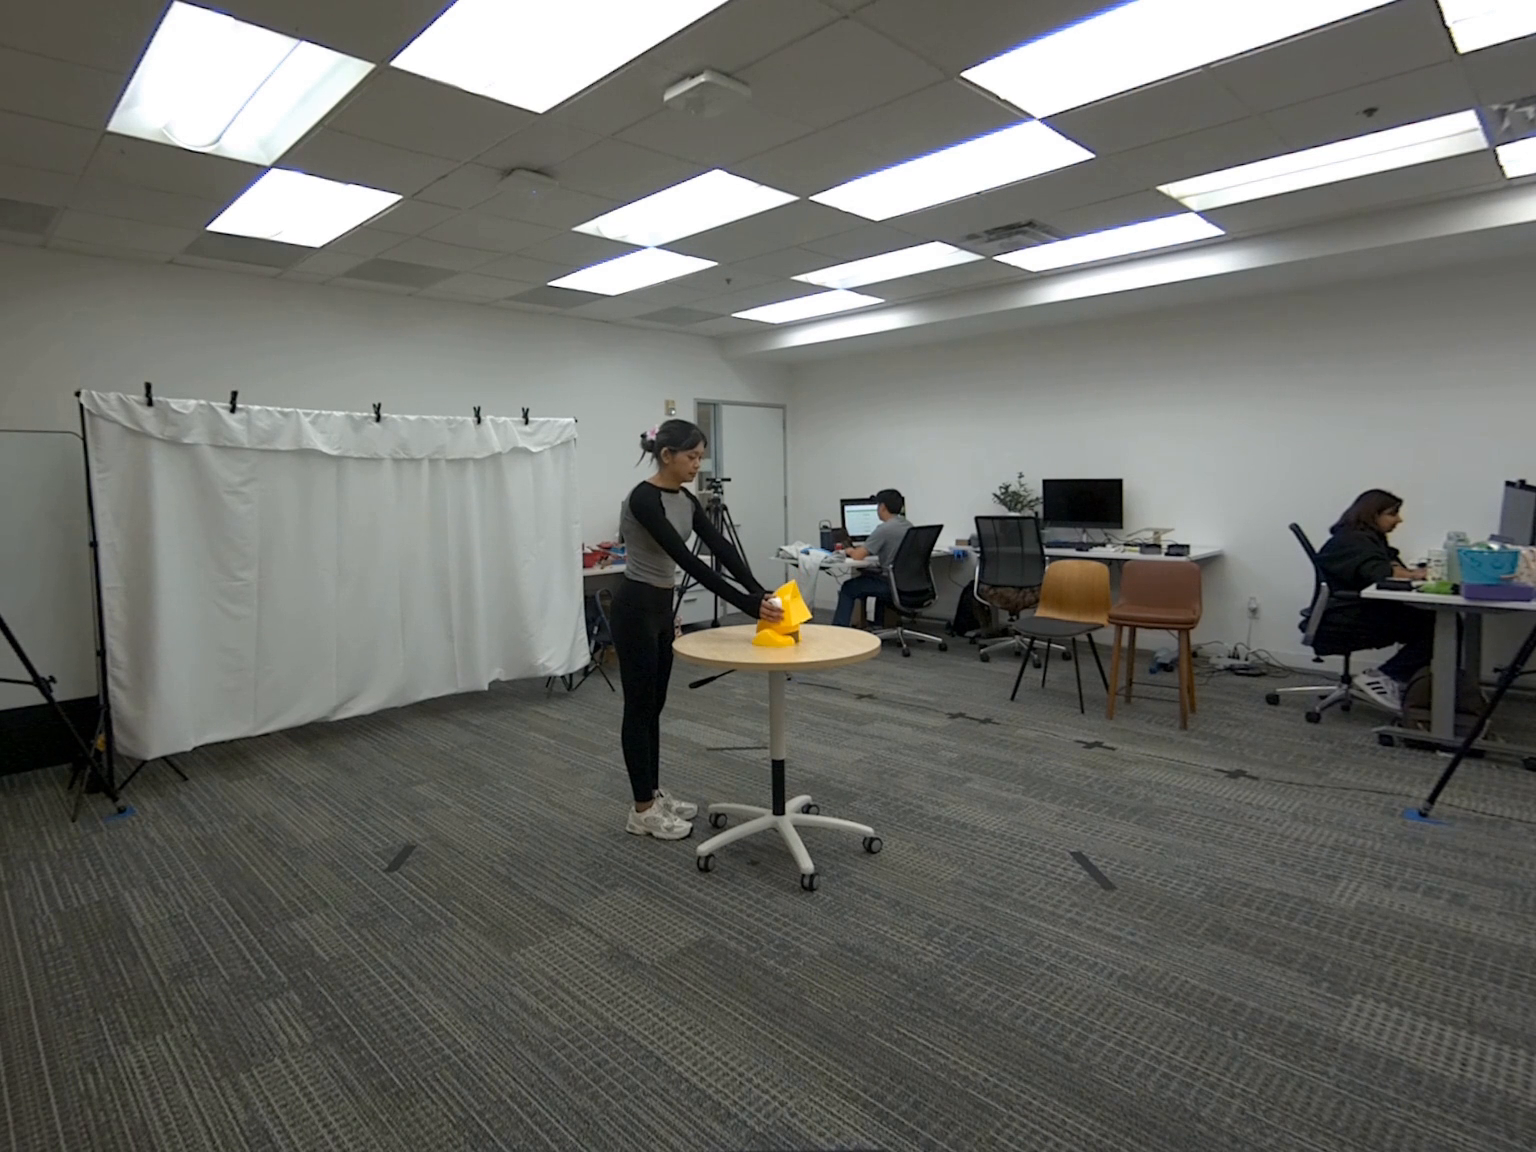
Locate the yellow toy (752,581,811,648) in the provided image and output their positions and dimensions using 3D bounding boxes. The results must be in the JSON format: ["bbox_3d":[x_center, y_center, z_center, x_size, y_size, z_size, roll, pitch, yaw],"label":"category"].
[{"bbox_3d":[0.049,0.124,3.140,0.197,0.230,0.201,1,4,23],"label":"yellow toy"}]
